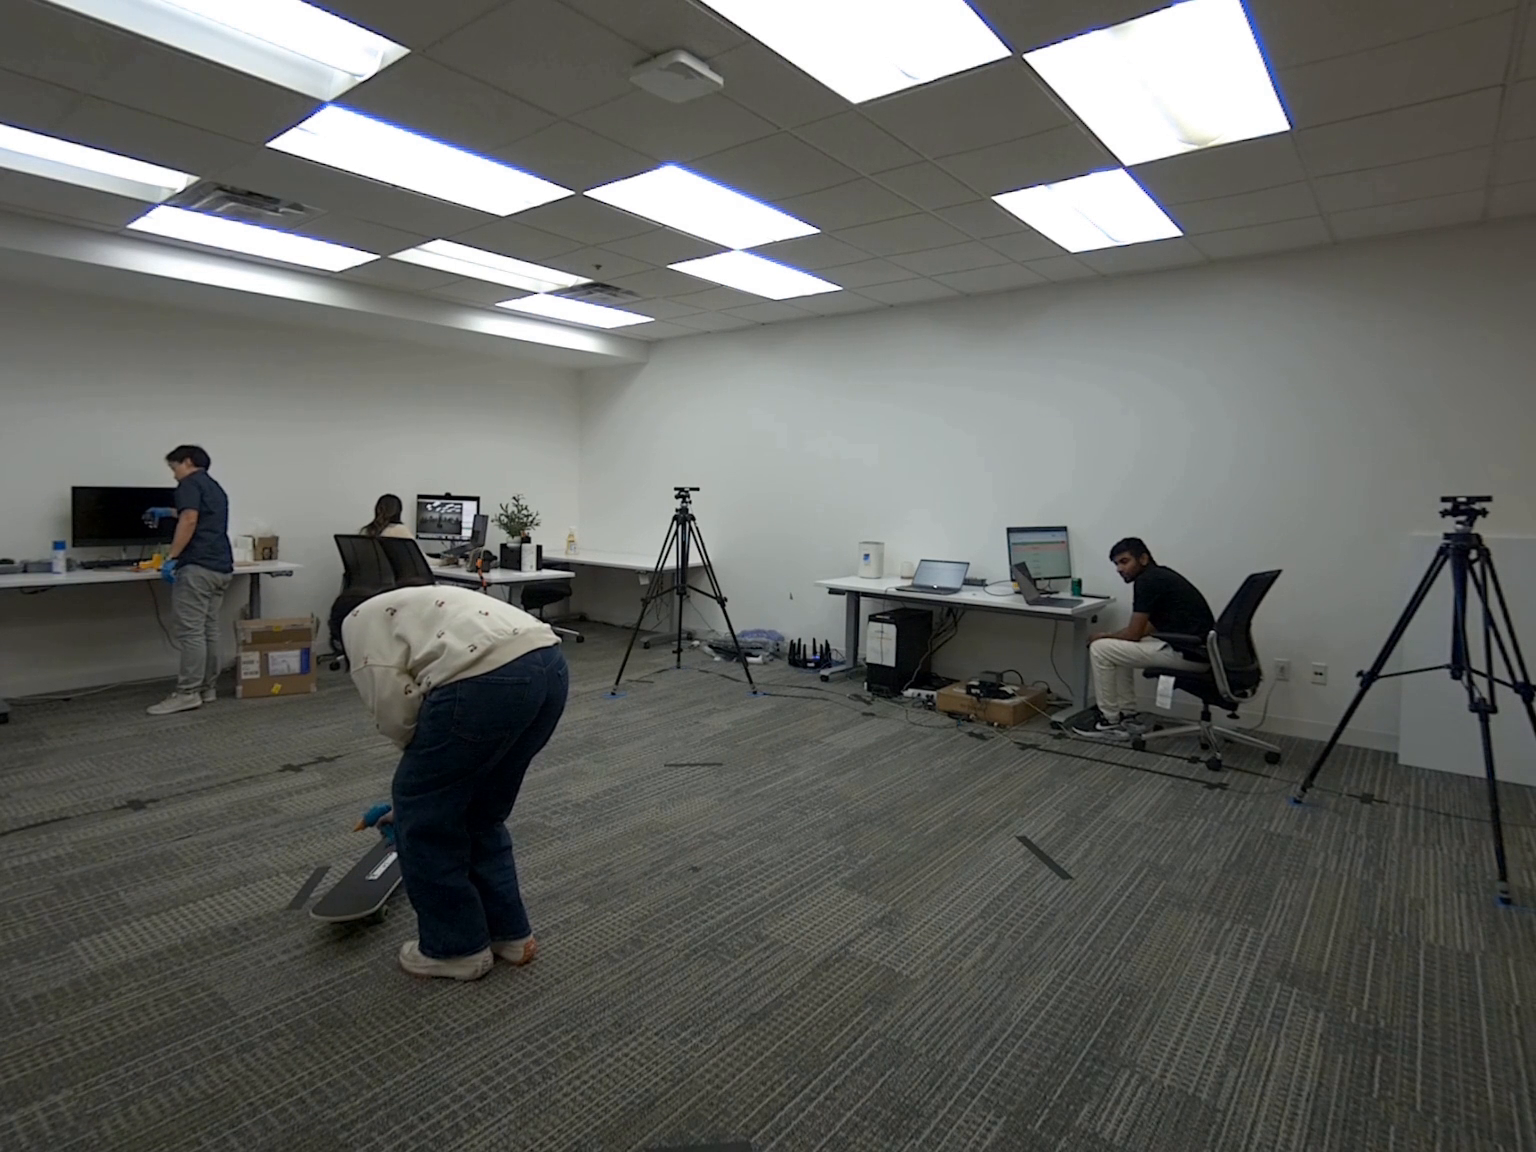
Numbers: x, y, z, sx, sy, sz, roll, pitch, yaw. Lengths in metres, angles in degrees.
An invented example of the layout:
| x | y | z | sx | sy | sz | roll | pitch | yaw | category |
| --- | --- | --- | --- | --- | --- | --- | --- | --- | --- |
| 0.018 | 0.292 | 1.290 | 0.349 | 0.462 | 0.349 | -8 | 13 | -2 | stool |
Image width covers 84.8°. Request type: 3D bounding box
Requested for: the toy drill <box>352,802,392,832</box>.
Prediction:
| x | y | z | sx | sy | sz | roll | pitch | yaw | category |
| --- | --- | --- | --- | --- | --- | --- | --- | --- | --- |
| -1.279 | 0.826 | 2.756 | 0.170 | 0.149 | 0.060 | -36 | -13 | 11 | toy drill |
